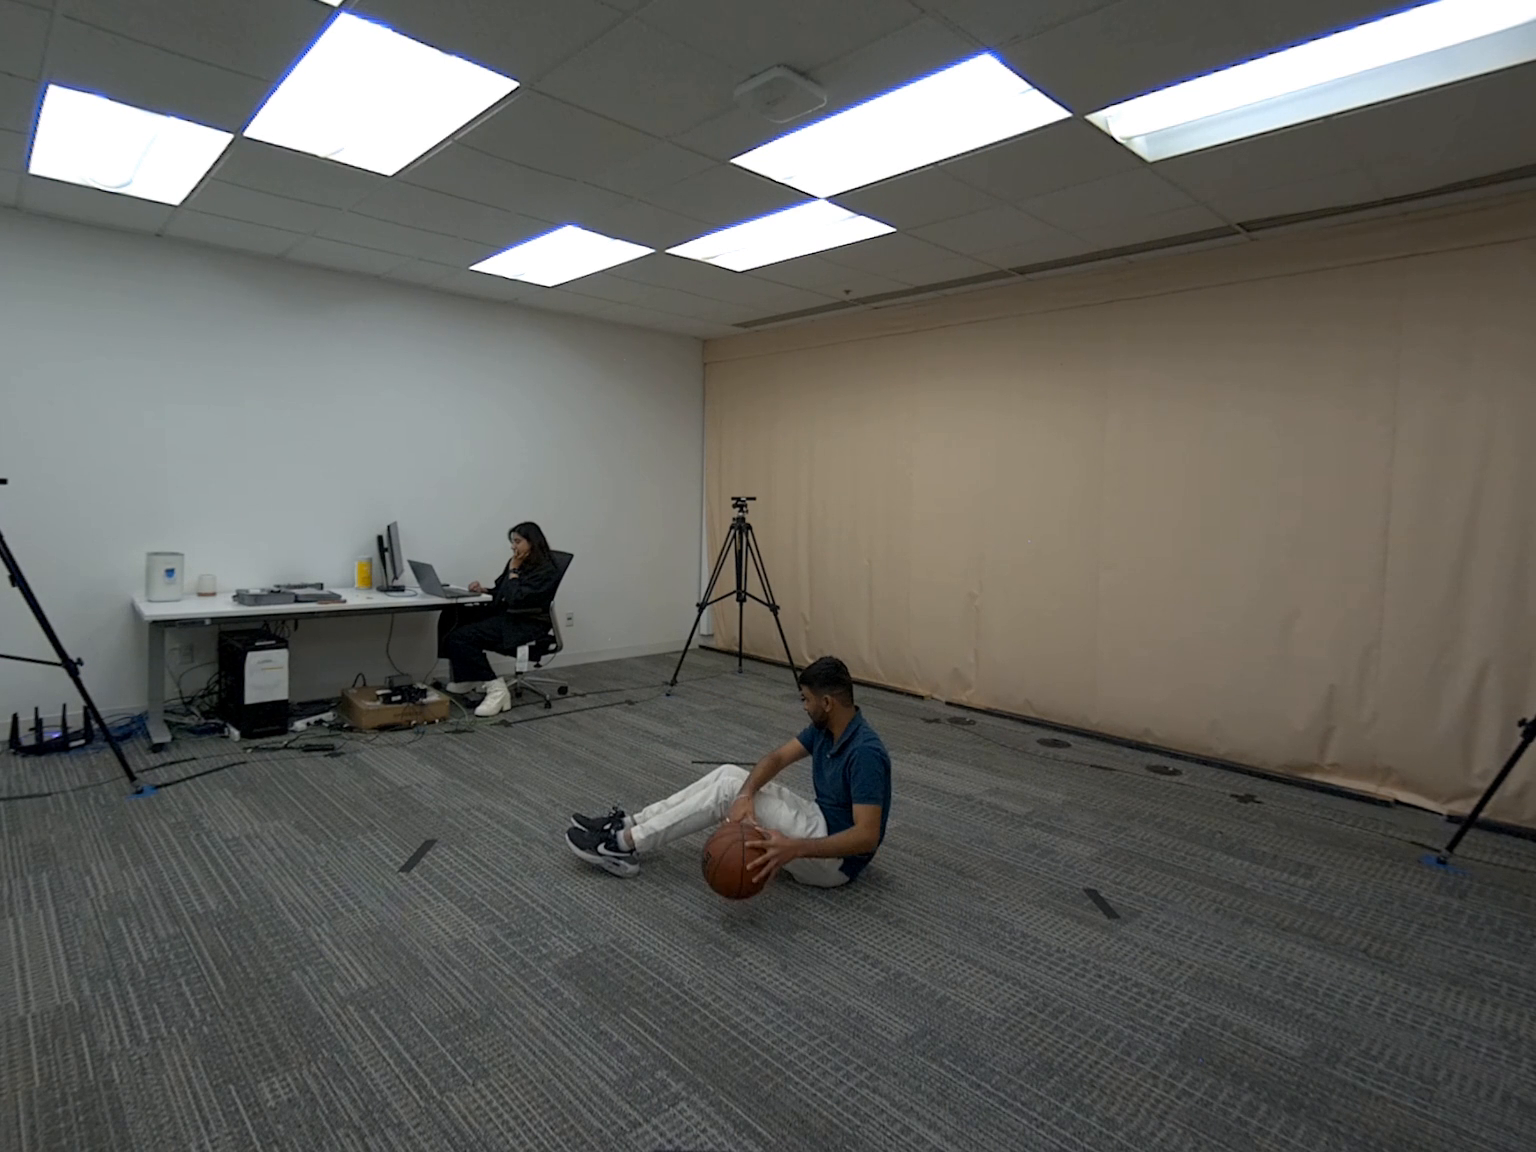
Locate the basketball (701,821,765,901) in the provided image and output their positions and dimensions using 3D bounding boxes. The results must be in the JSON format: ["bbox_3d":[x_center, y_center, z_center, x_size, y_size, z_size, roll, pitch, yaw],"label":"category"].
[{"bbox_3d":[-0.114,0.932,2.779,0.236,0.235,0.237,1,4,-1],"label":"basketball"}]
